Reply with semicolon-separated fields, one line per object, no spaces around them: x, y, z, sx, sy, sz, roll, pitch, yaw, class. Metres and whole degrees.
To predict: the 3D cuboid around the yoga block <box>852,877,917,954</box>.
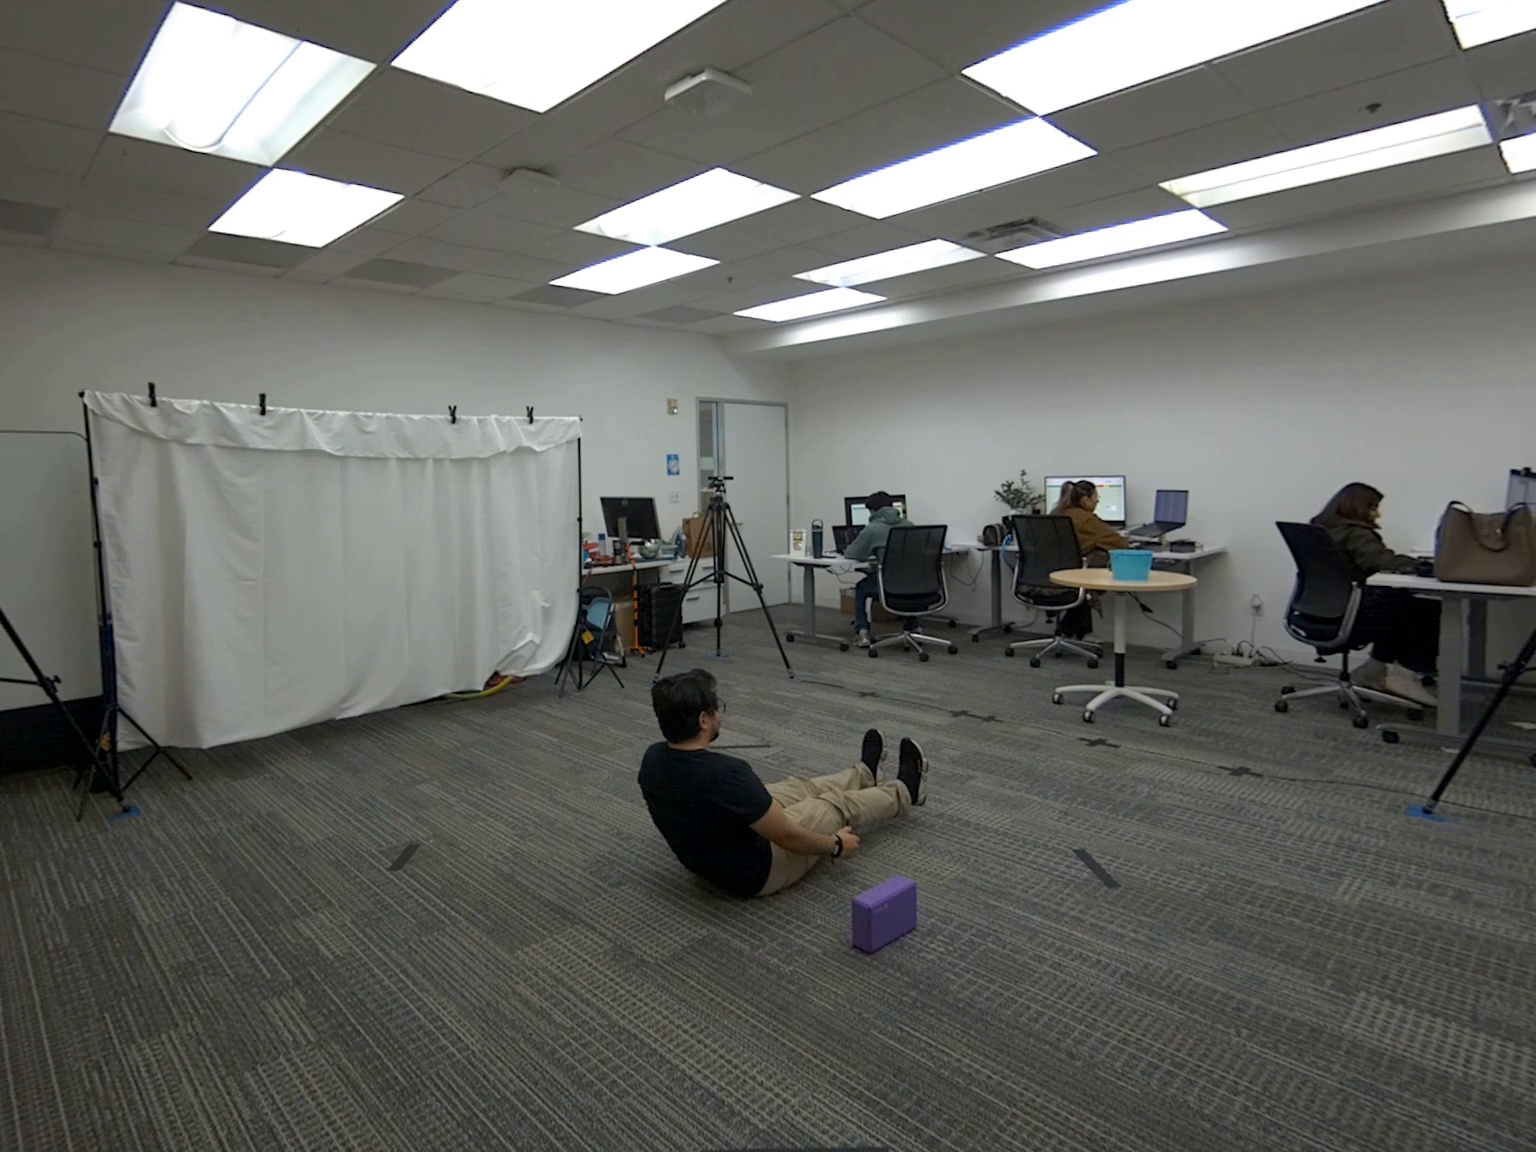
0.355;1.014;2.576;0.223;0.148;0.079;-7;8;-43;yoga block
